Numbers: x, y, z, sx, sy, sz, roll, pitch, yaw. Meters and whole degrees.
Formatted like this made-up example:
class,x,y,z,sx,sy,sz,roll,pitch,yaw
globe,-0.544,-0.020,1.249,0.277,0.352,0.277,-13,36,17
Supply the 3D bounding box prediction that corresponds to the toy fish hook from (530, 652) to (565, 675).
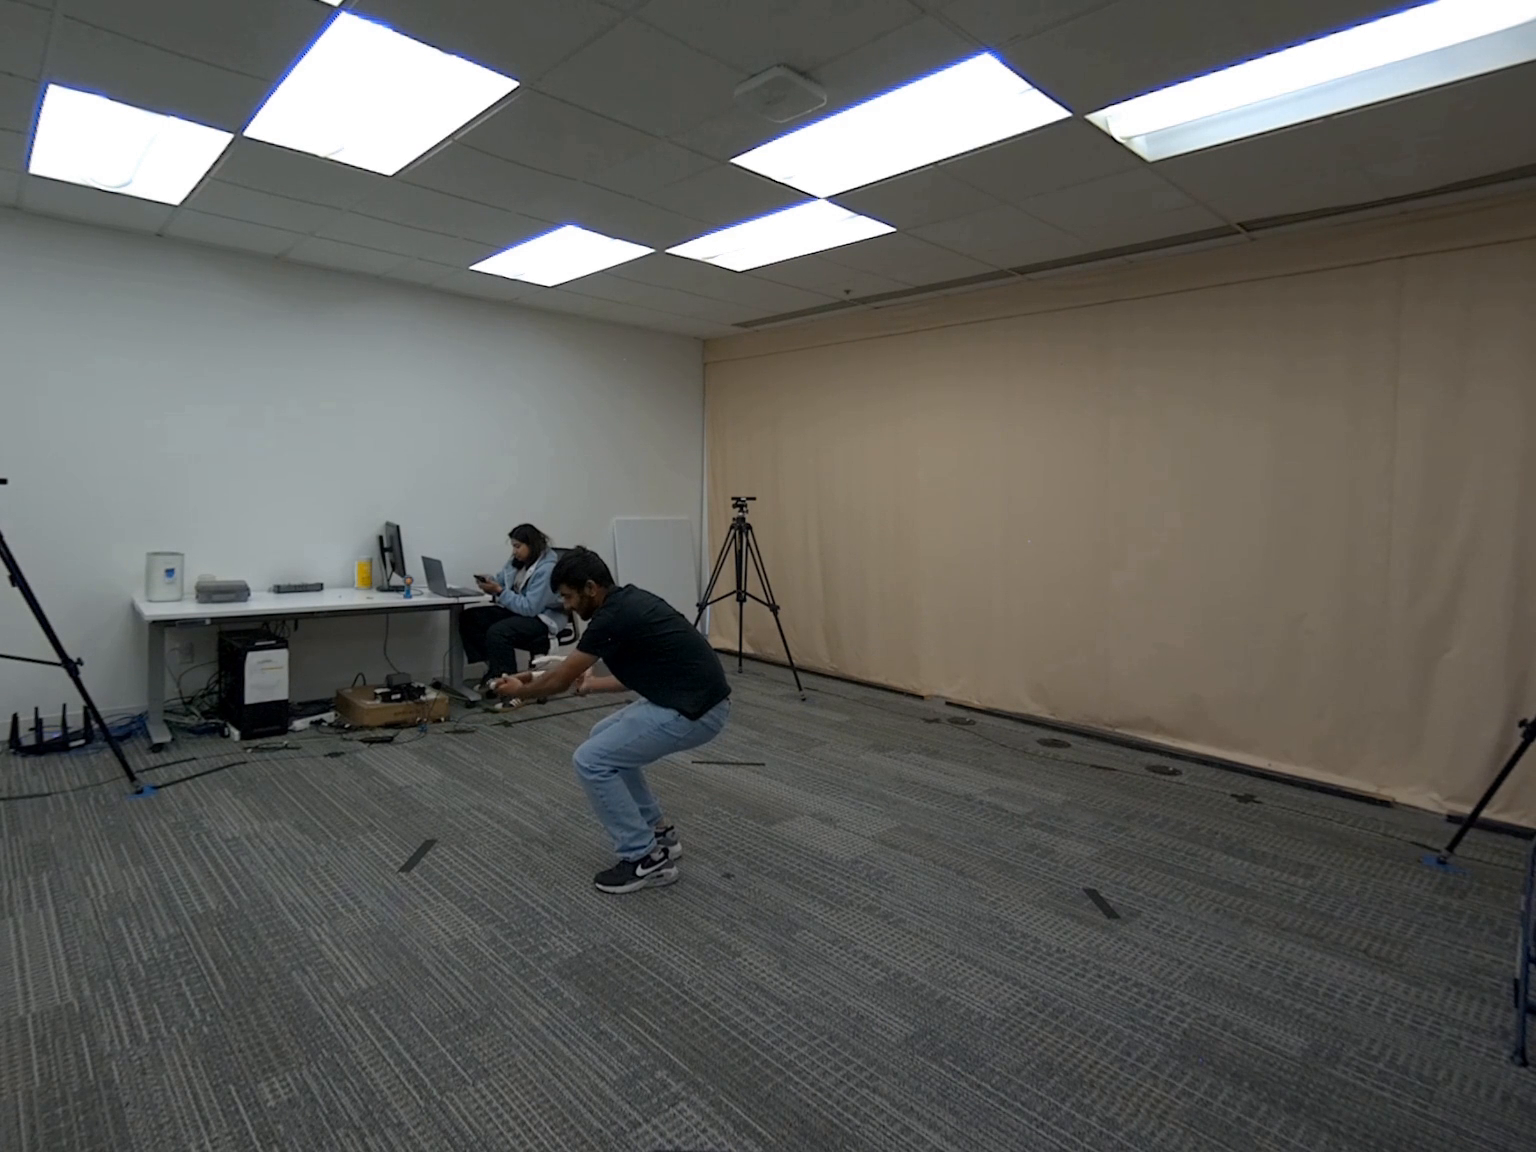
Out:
class,x,y,z,sx,sy,sz,roll,pitch,yaw
toy fish hook,-0.969,0.400,3.478,0.231,0.048,0.495,17,14,39
